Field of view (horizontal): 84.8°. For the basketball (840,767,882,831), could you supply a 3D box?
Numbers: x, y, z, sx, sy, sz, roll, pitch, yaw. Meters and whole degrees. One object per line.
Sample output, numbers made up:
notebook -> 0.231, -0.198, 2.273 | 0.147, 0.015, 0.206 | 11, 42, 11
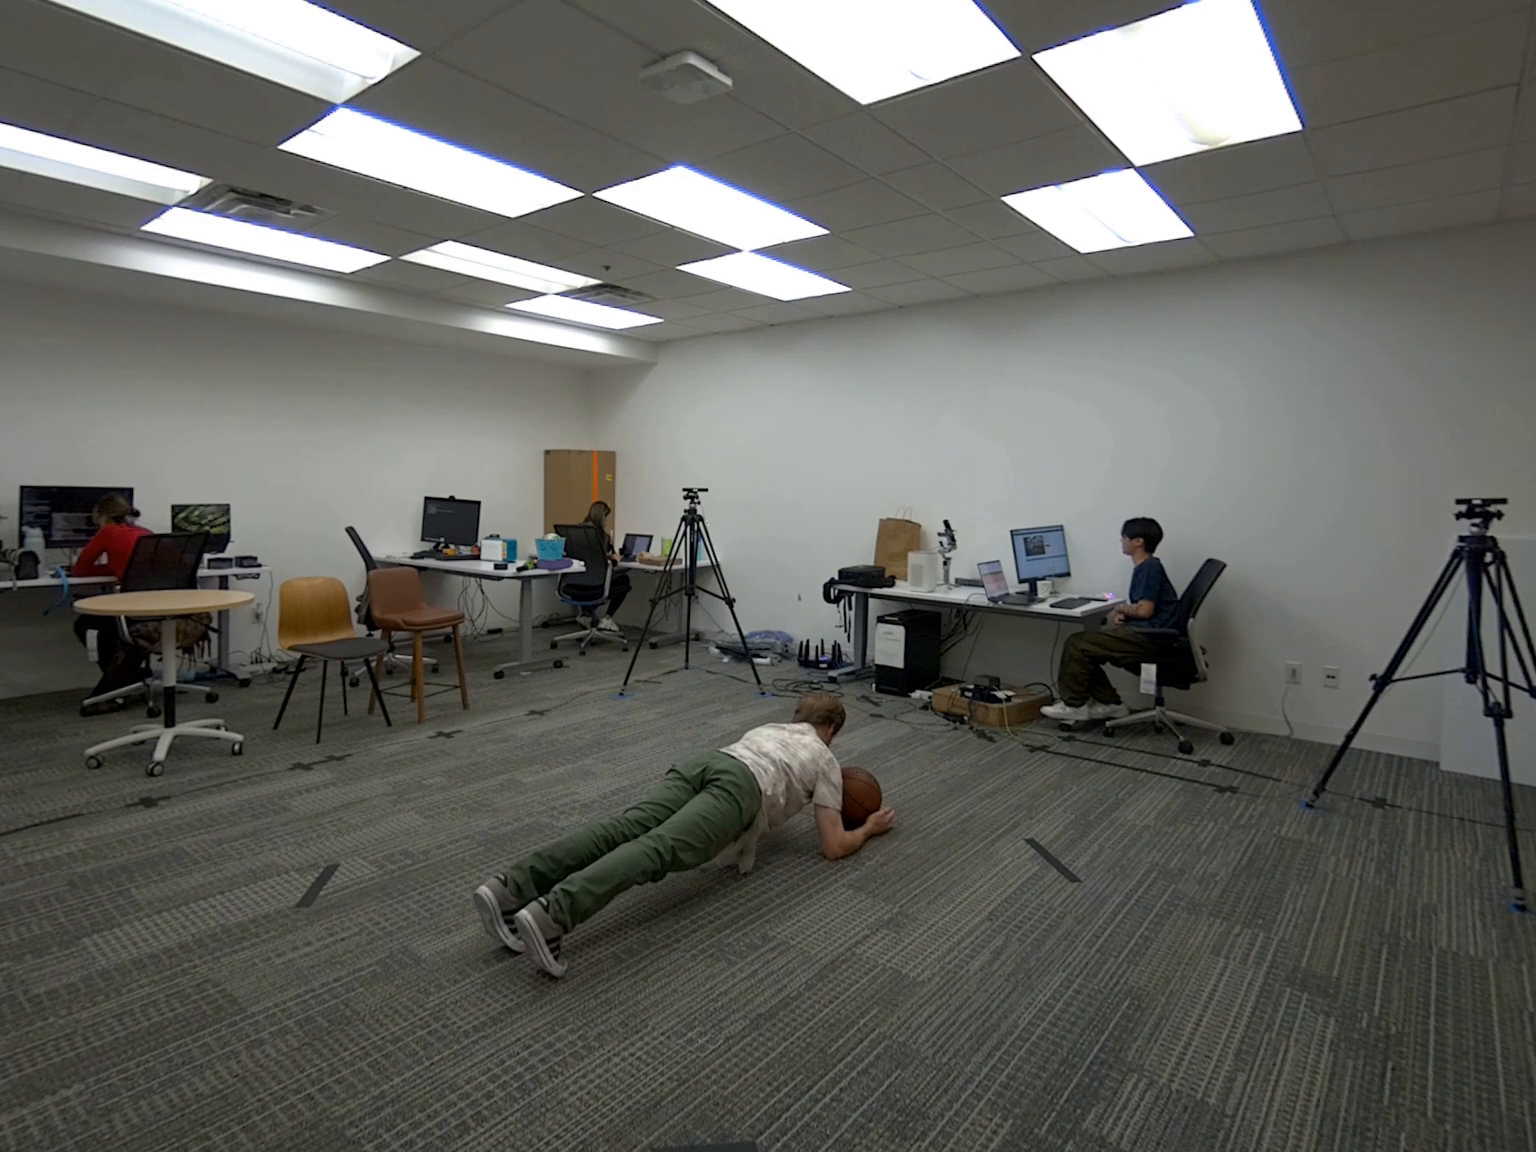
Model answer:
basketball -> 0.349, 0.916, 3.562 | 0.235, 0.235, 0.237 | 1, 4, -2
